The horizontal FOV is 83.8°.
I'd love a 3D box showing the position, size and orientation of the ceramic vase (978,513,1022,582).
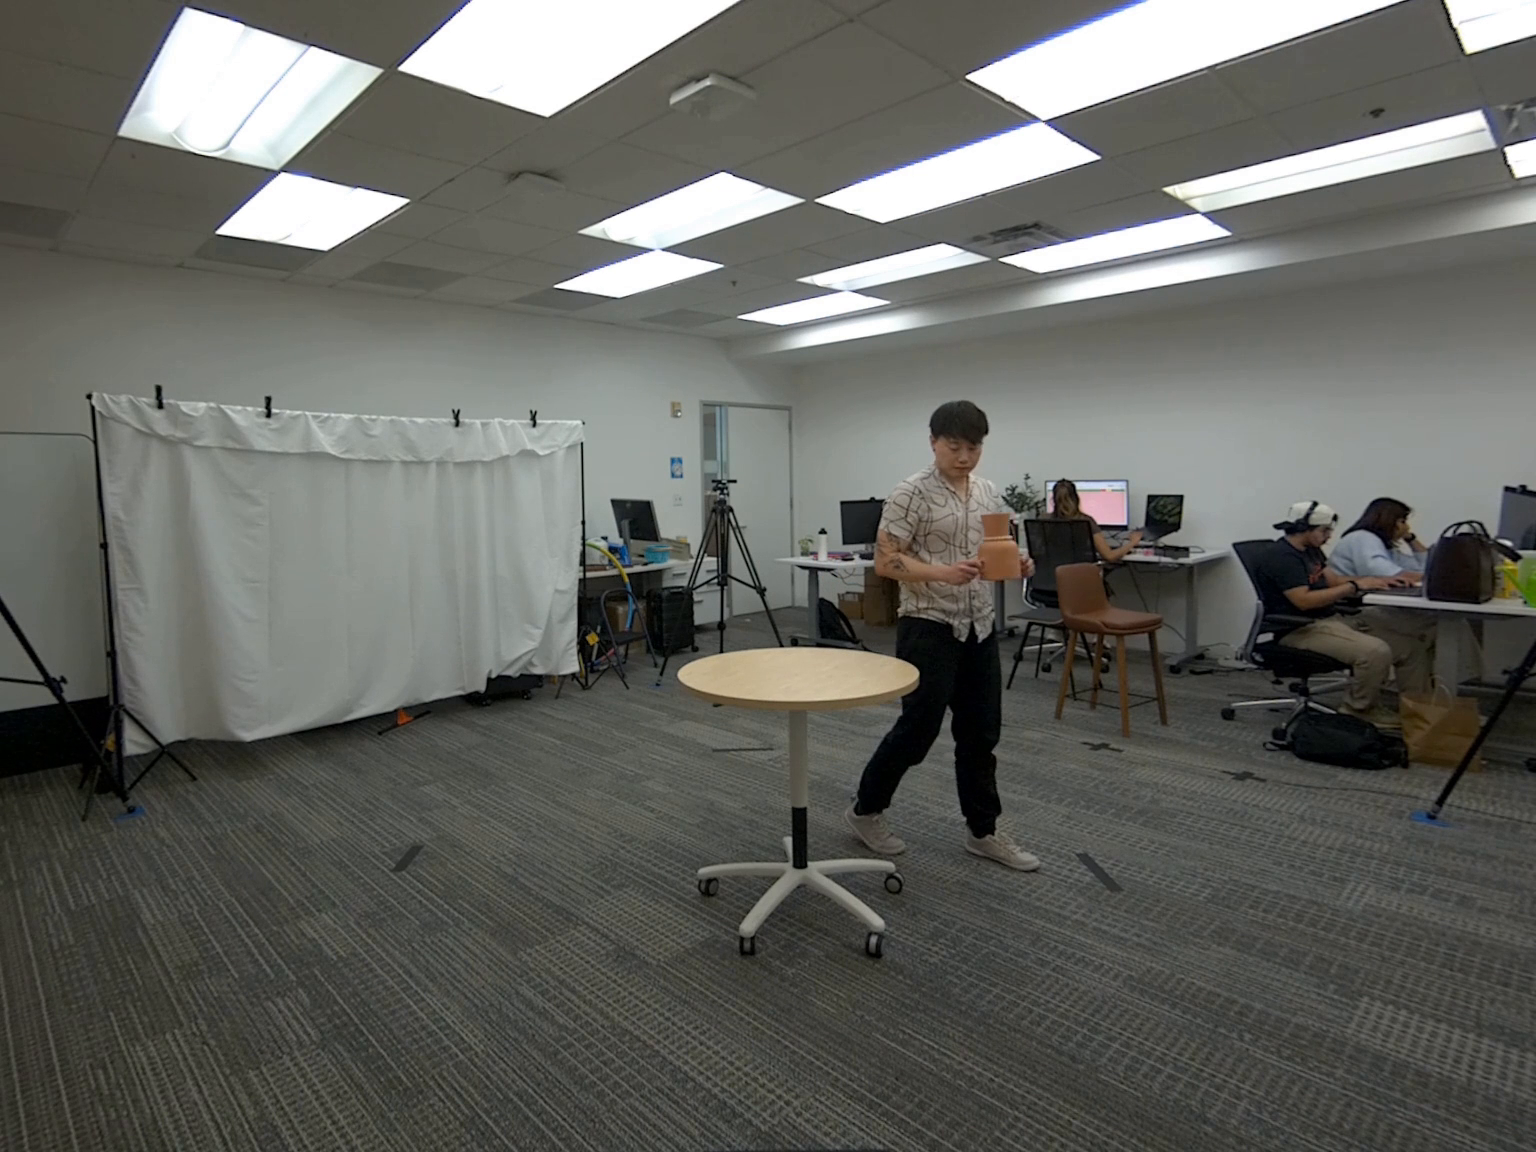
[{"bbox_3d":[0.754,-0.095,2.871,0.137,0.220,0.155,-4,1,26],"label":"ceramic vase"}]
